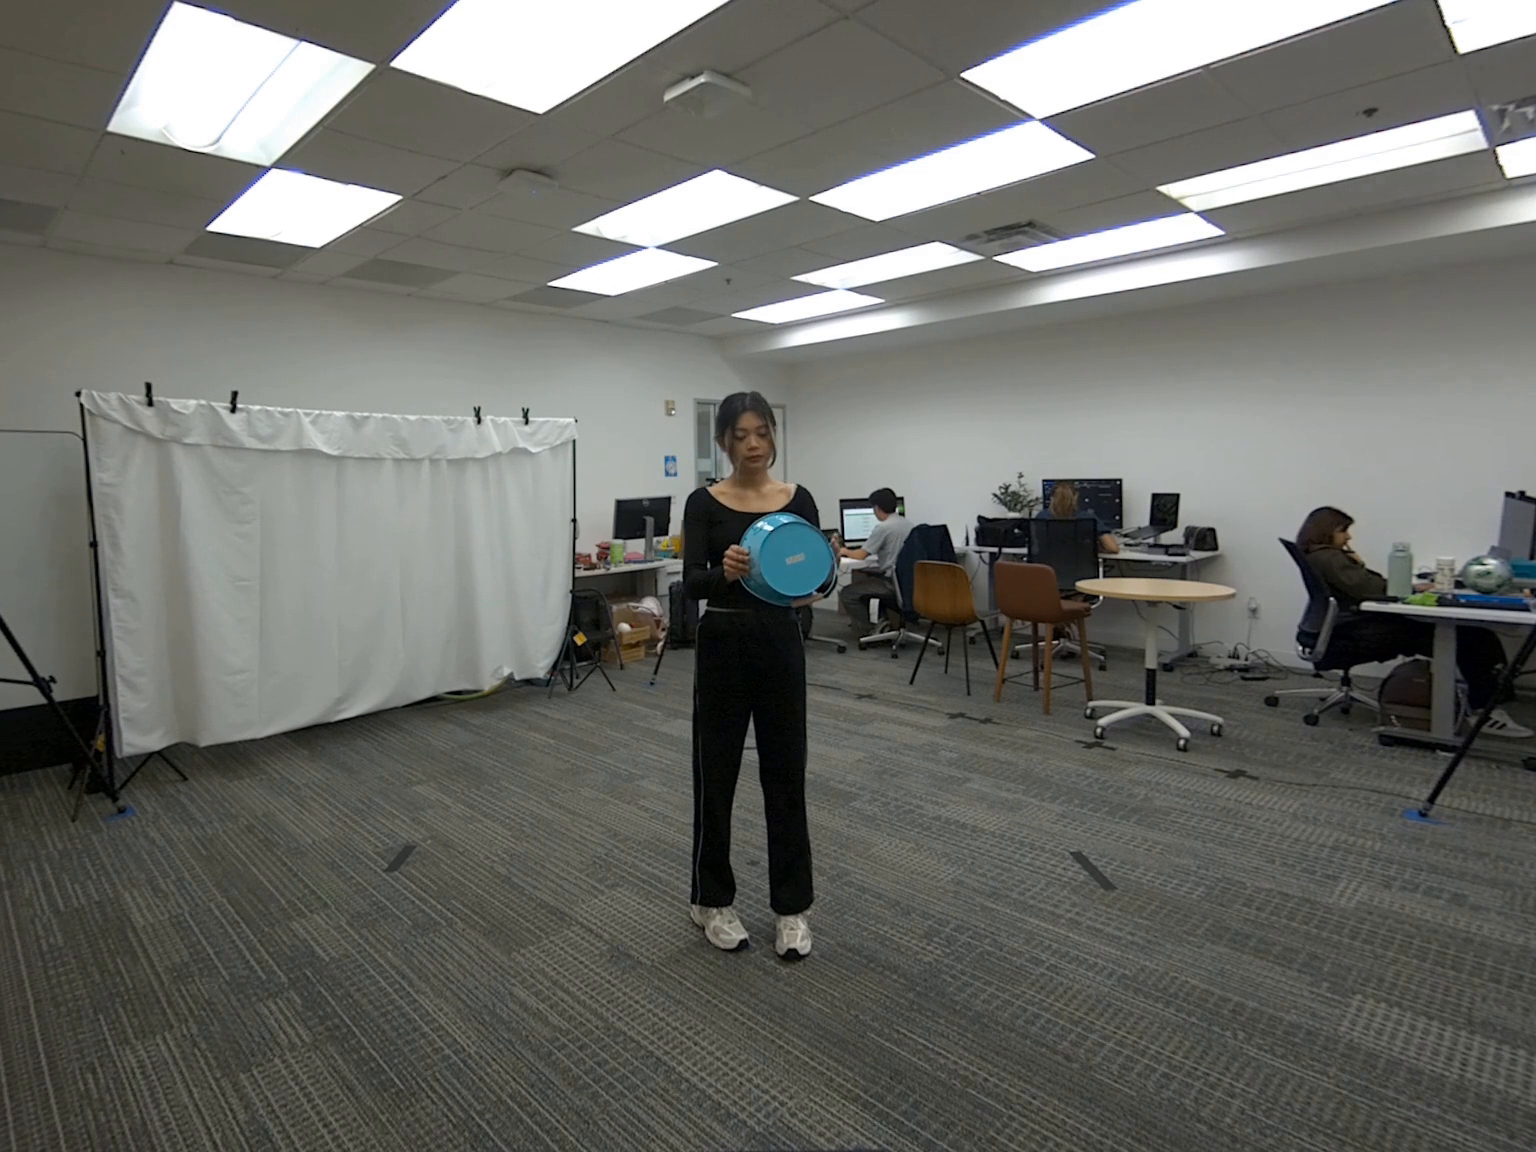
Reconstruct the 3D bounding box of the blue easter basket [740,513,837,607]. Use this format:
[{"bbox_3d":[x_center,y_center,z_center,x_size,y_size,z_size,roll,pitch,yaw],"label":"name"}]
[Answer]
[{"bbox_3d":[0.047,-0.039,2.141,0.241,0.244,0.157,-2,-1,-9],"label":"blue easter basket"}]
